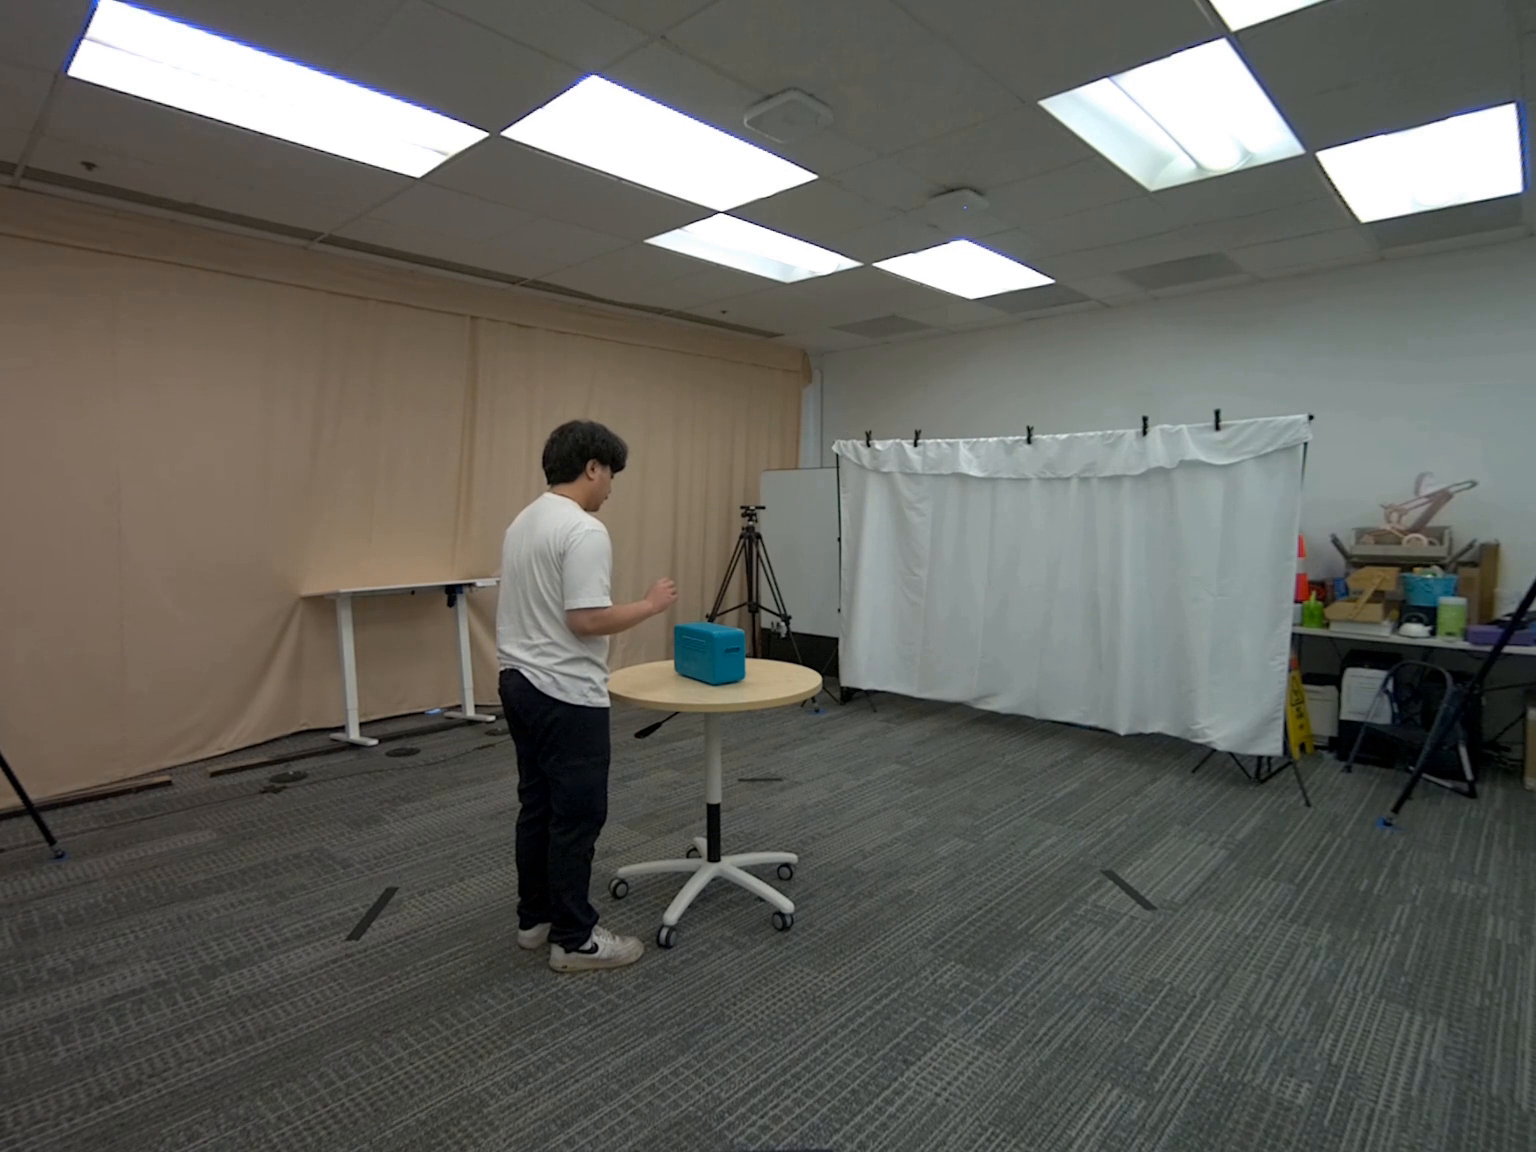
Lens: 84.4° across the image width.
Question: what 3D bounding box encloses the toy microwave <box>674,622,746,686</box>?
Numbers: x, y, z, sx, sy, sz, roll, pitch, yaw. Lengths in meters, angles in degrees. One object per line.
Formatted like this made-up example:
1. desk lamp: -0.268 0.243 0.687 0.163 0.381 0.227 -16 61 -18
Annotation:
1. toy microwave: -0.199 0.264 2.936 0.148 0.184 0.295 -3 4 -34
